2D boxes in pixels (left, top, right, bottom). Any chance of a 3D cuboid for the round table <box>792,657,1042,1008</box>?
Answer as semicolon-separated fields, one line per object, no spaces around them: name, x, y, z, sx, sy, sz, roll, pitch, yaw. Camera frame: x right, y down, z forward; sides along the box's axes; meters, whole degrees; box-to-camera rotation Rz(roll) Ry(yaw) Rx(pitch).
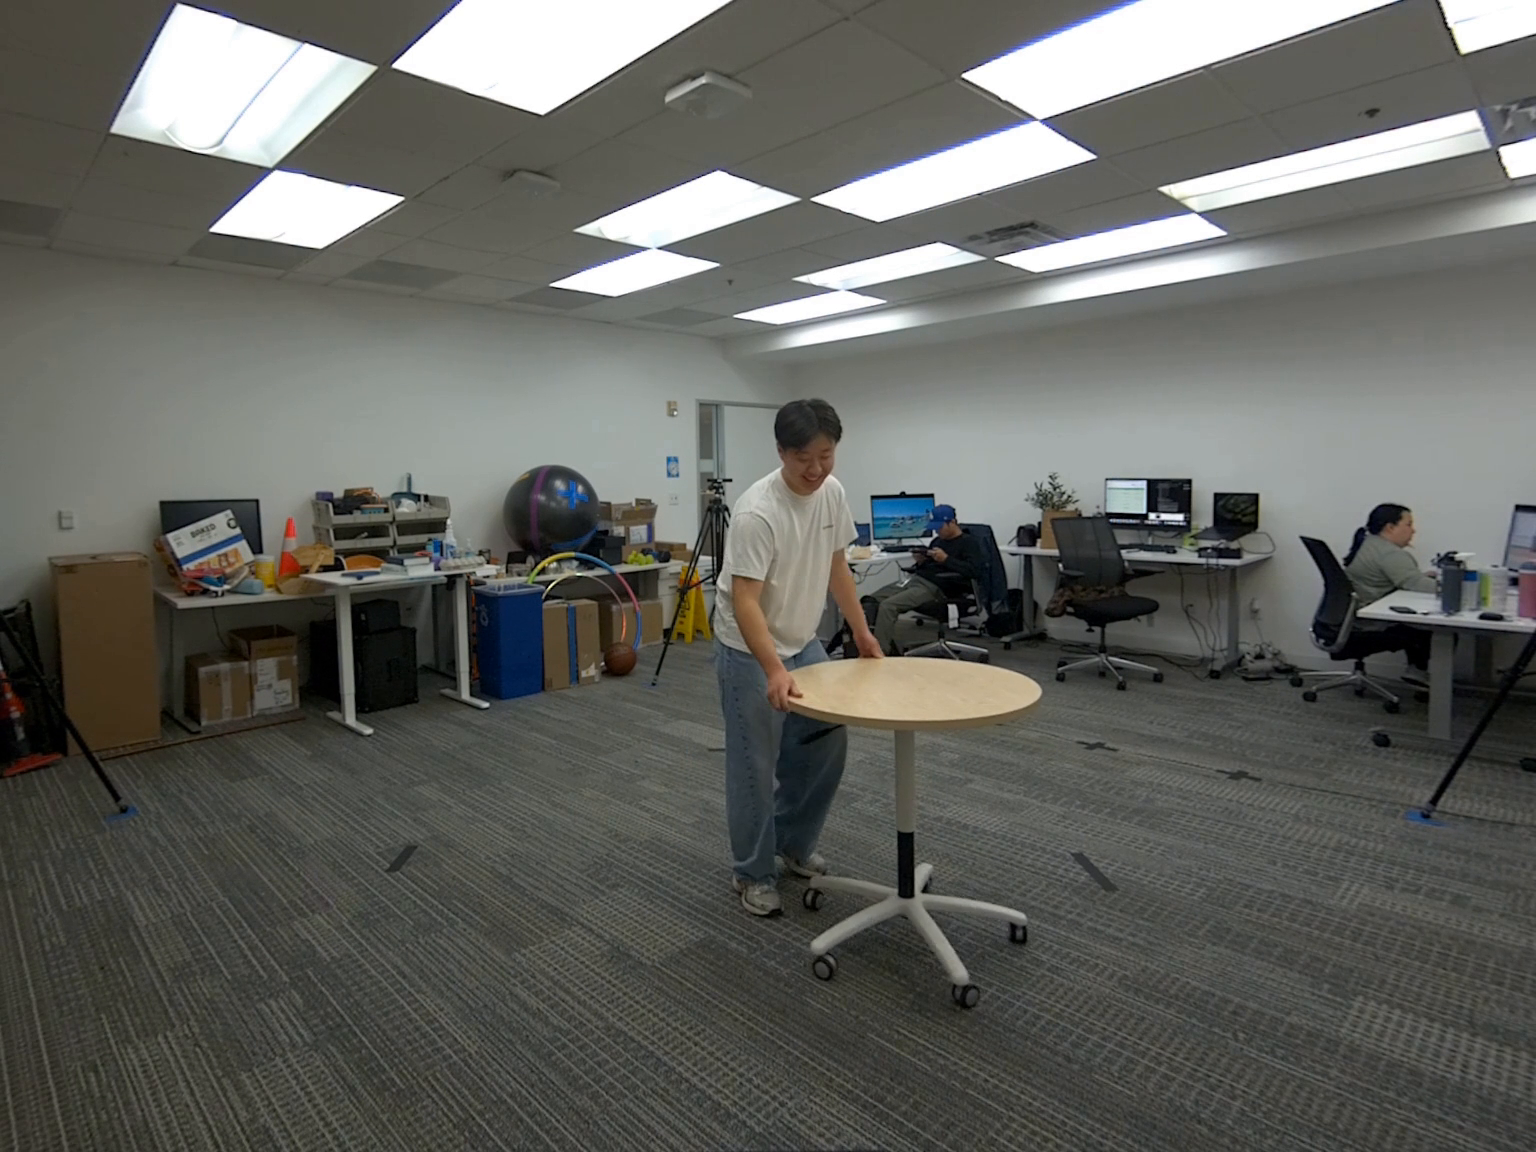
round table;0.403;0.704;2.558;0.784;0.783;0.789;-2;5;-2
